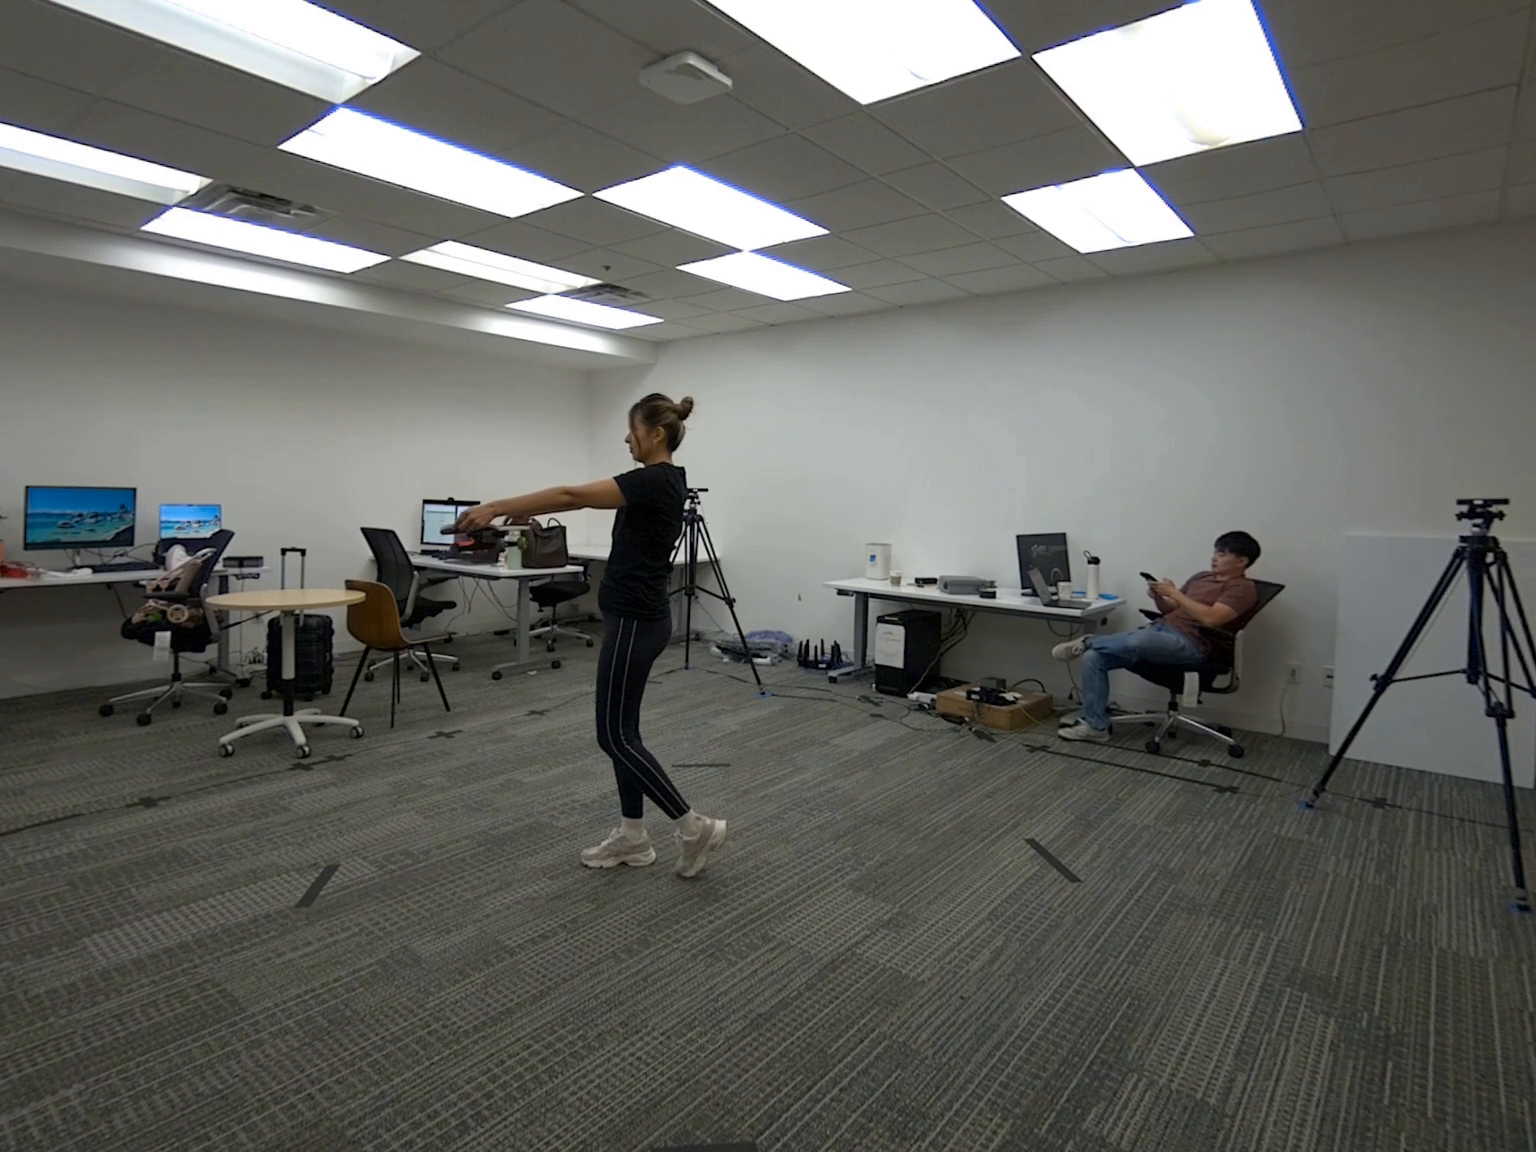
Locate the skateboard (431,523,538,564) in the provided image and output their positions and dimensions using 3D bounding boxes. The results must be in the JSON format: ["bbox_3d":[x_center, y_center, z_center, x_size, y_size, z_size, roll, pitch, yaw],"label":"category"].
[{"bbox_3d":[-1.010,-0.127,3.067,0.193,0.110,0.790,-5,4,-5],"label":"skateboard"}]
